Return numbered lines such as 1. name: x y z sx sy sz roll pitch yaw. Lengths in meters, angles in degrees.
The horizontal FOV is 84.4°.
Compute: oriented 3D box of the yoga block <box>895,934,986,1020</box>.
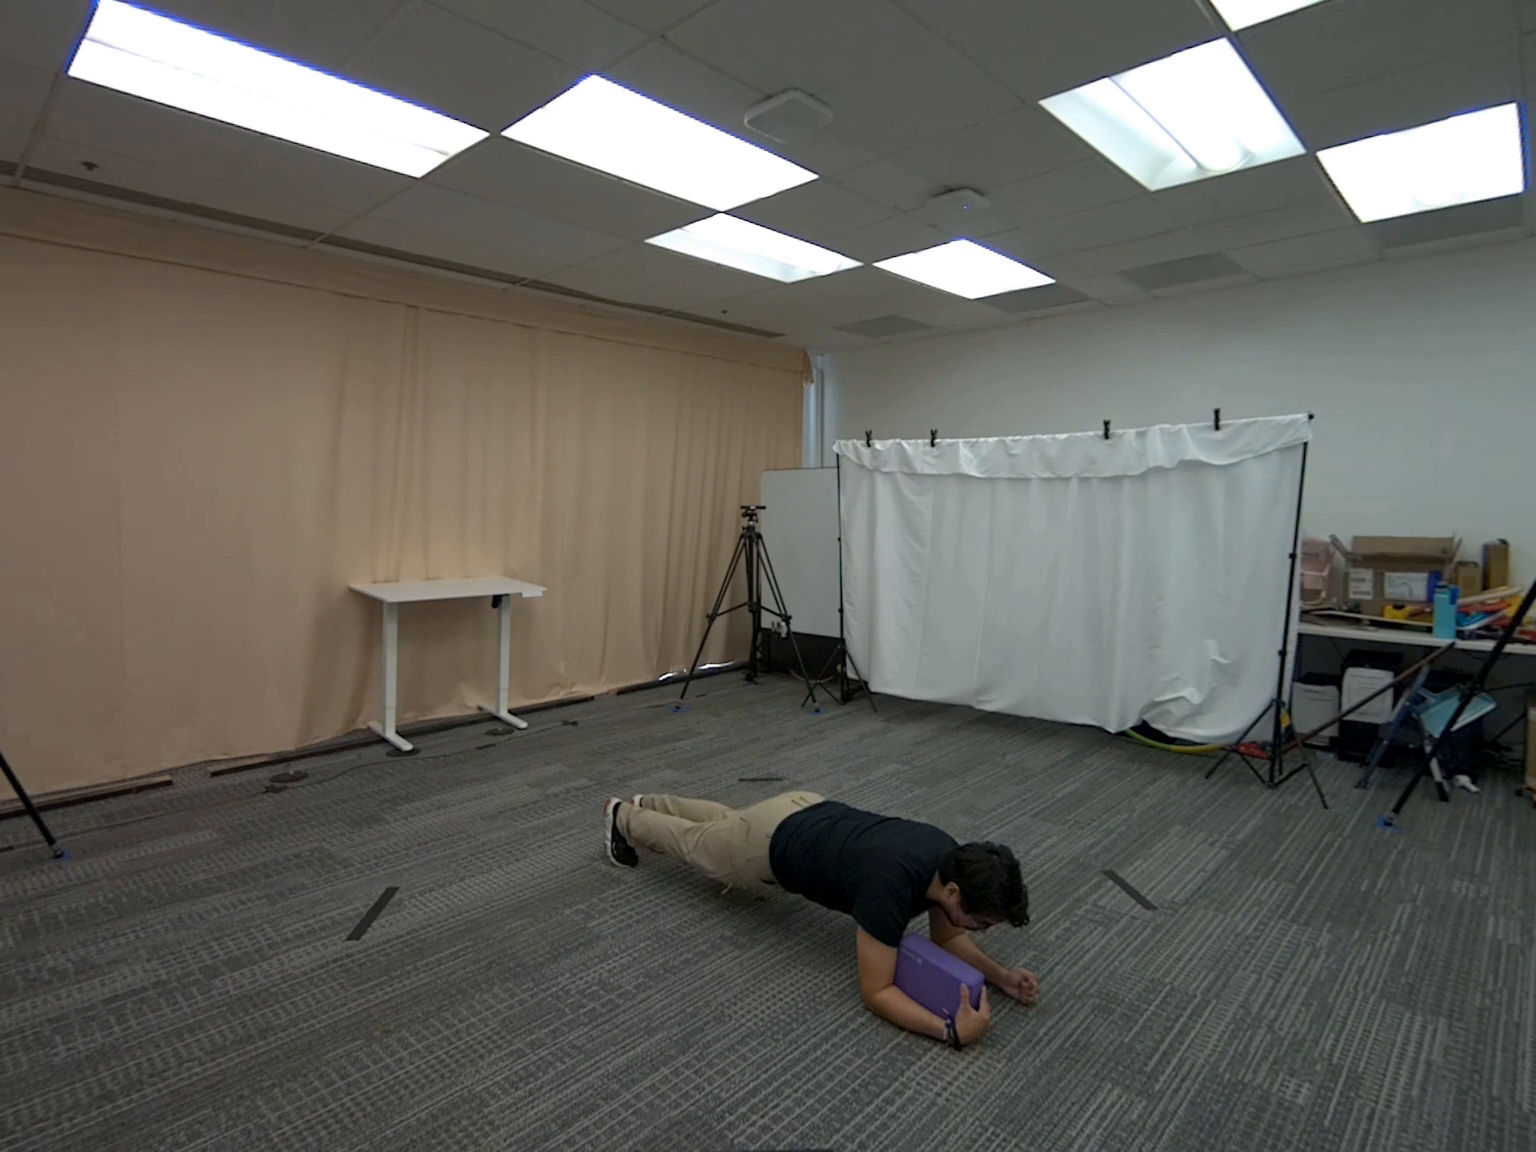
1. yoga block: 0.456 1.090 2.282 0.074 0.148 0.238 4 9 -41
